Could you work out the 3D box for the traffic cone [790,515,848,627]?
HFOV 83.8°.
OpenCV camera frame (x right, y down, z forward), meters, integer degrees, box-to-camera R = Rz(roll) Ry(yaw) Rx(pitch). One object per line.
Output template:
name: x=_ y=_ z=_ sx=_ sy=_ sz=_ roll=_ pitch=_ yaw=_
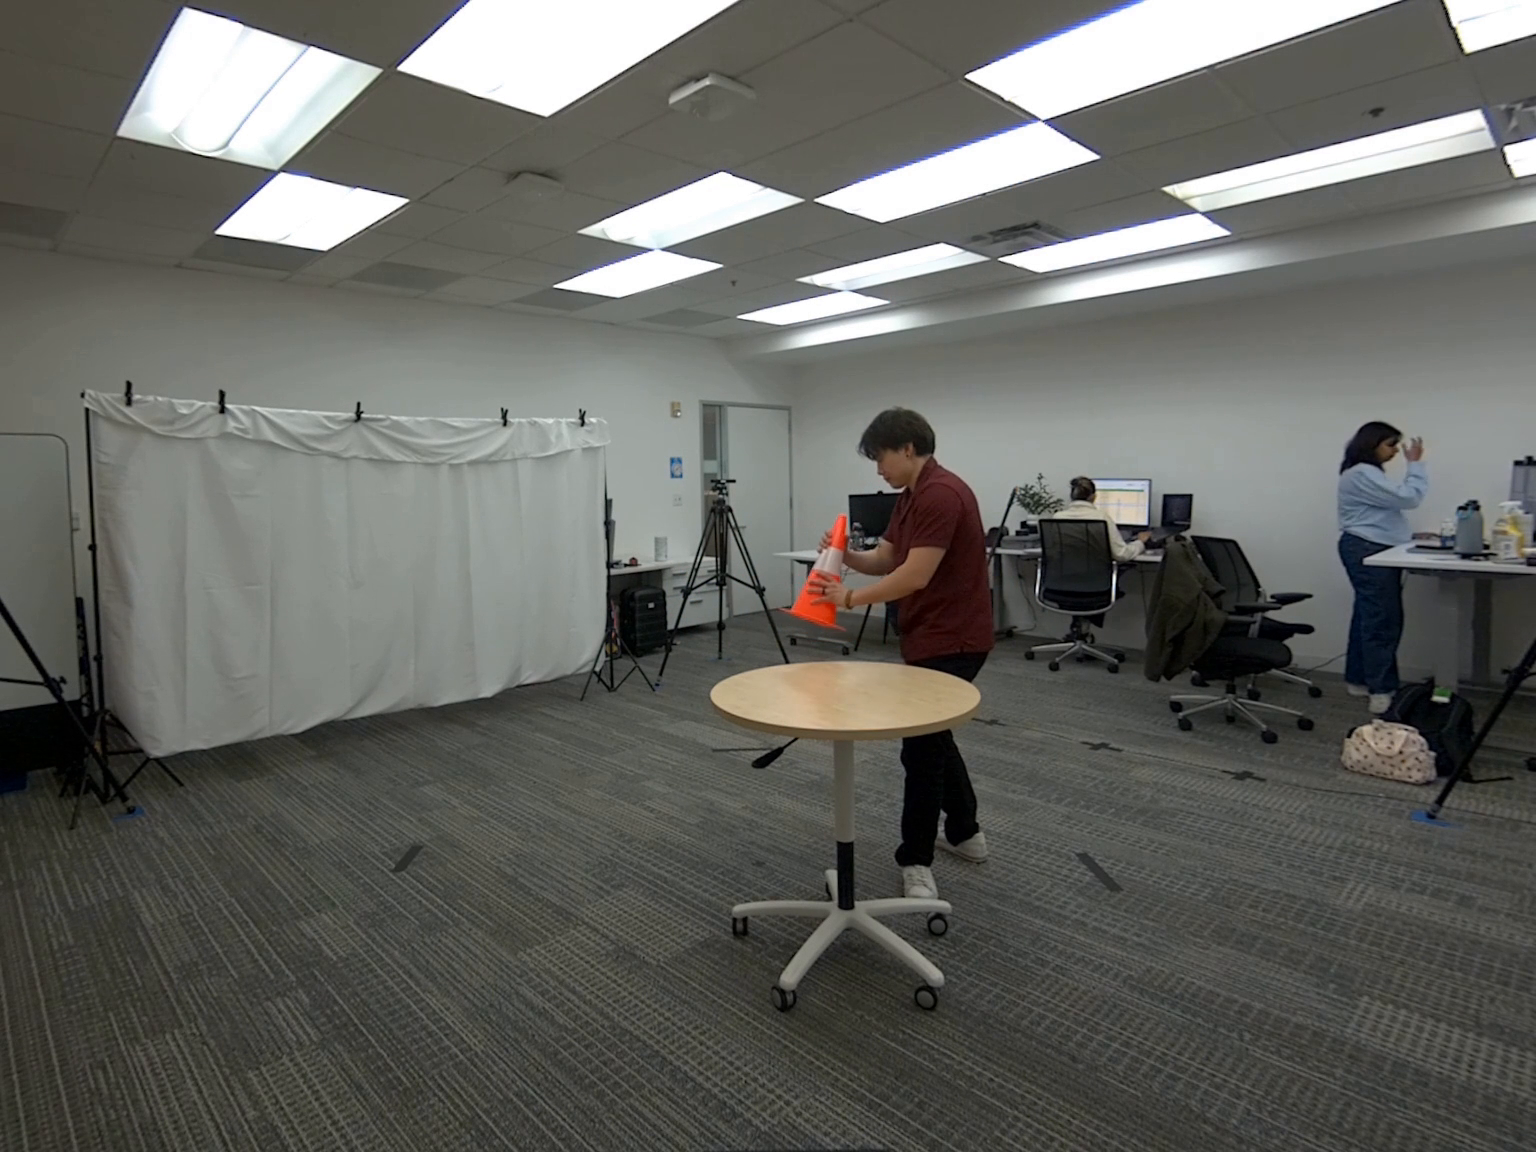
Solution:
traffic cone: x=0.220 y=-0.028 z=2.980 sx=0.202 sy=0.384 sz=0.206 roll=16 pitch=-3 yaw=-7
